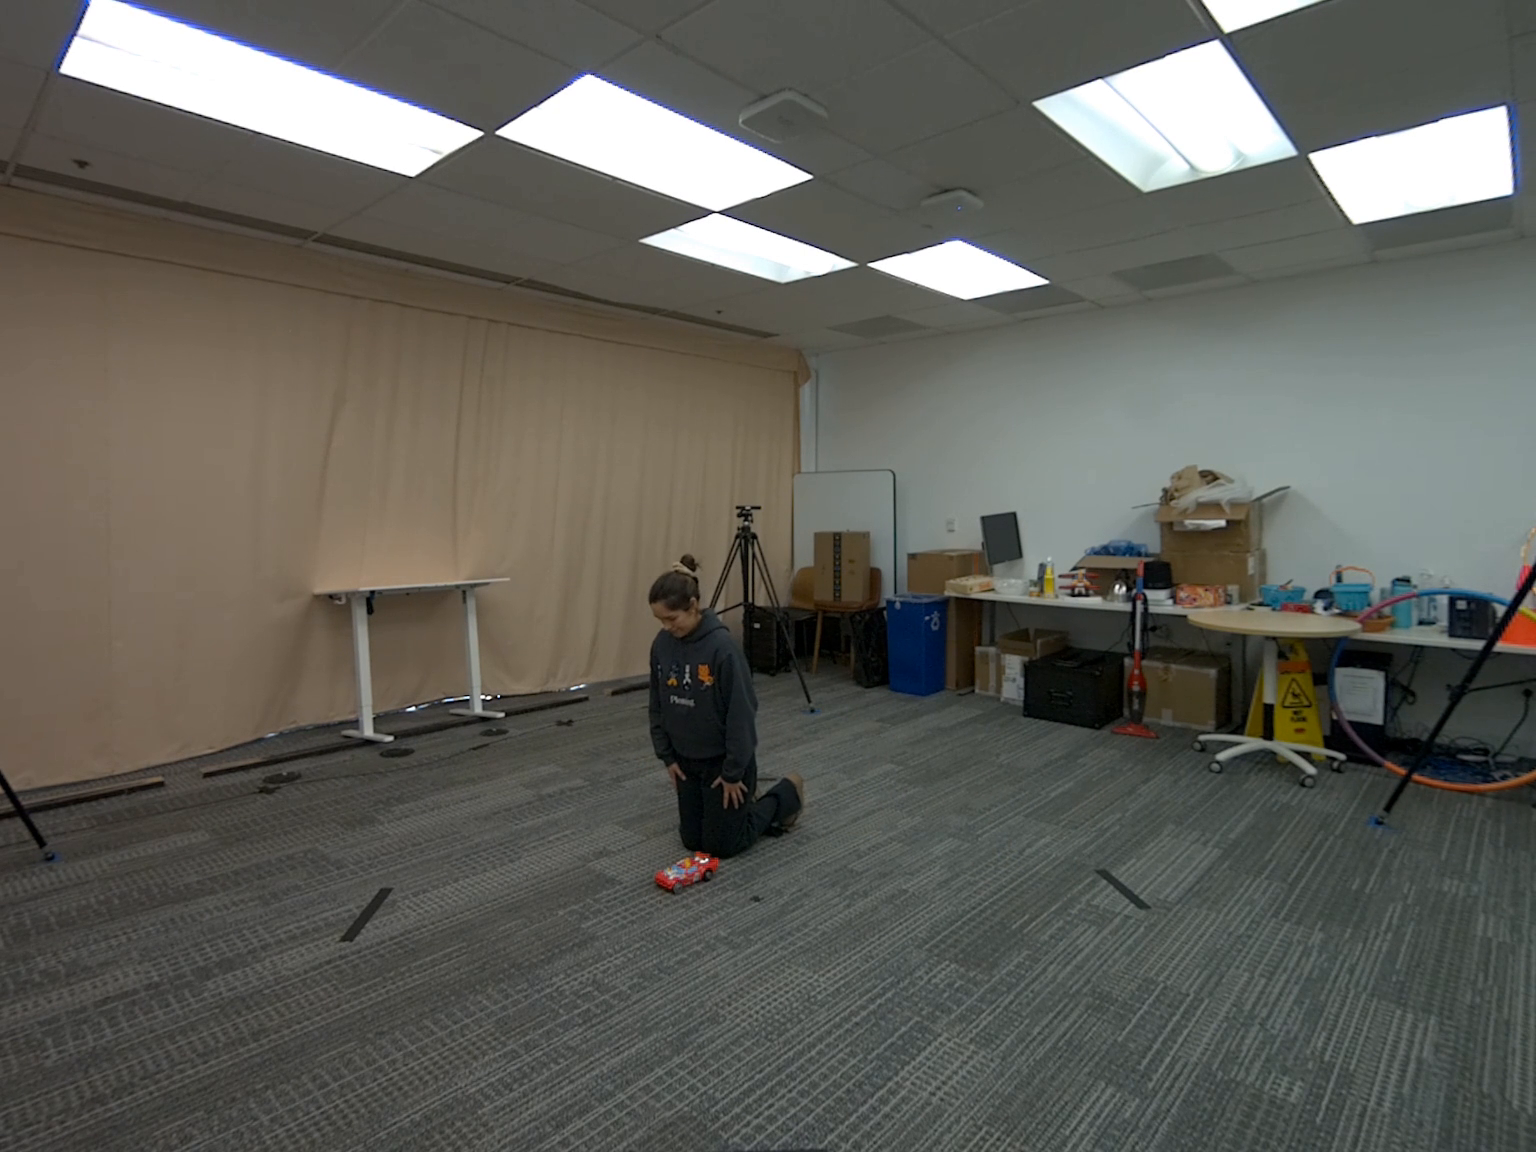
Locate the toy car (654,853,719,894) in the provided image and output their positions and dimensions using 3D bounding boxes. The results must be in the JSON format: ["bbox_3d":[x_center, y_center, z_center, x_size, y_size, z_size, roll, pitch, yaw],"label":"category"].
[{"bbox_3d":[-0.283,1.099,3.133,0.248,0.082,0.134,-21,16,-40],"label":"toy car"}]
